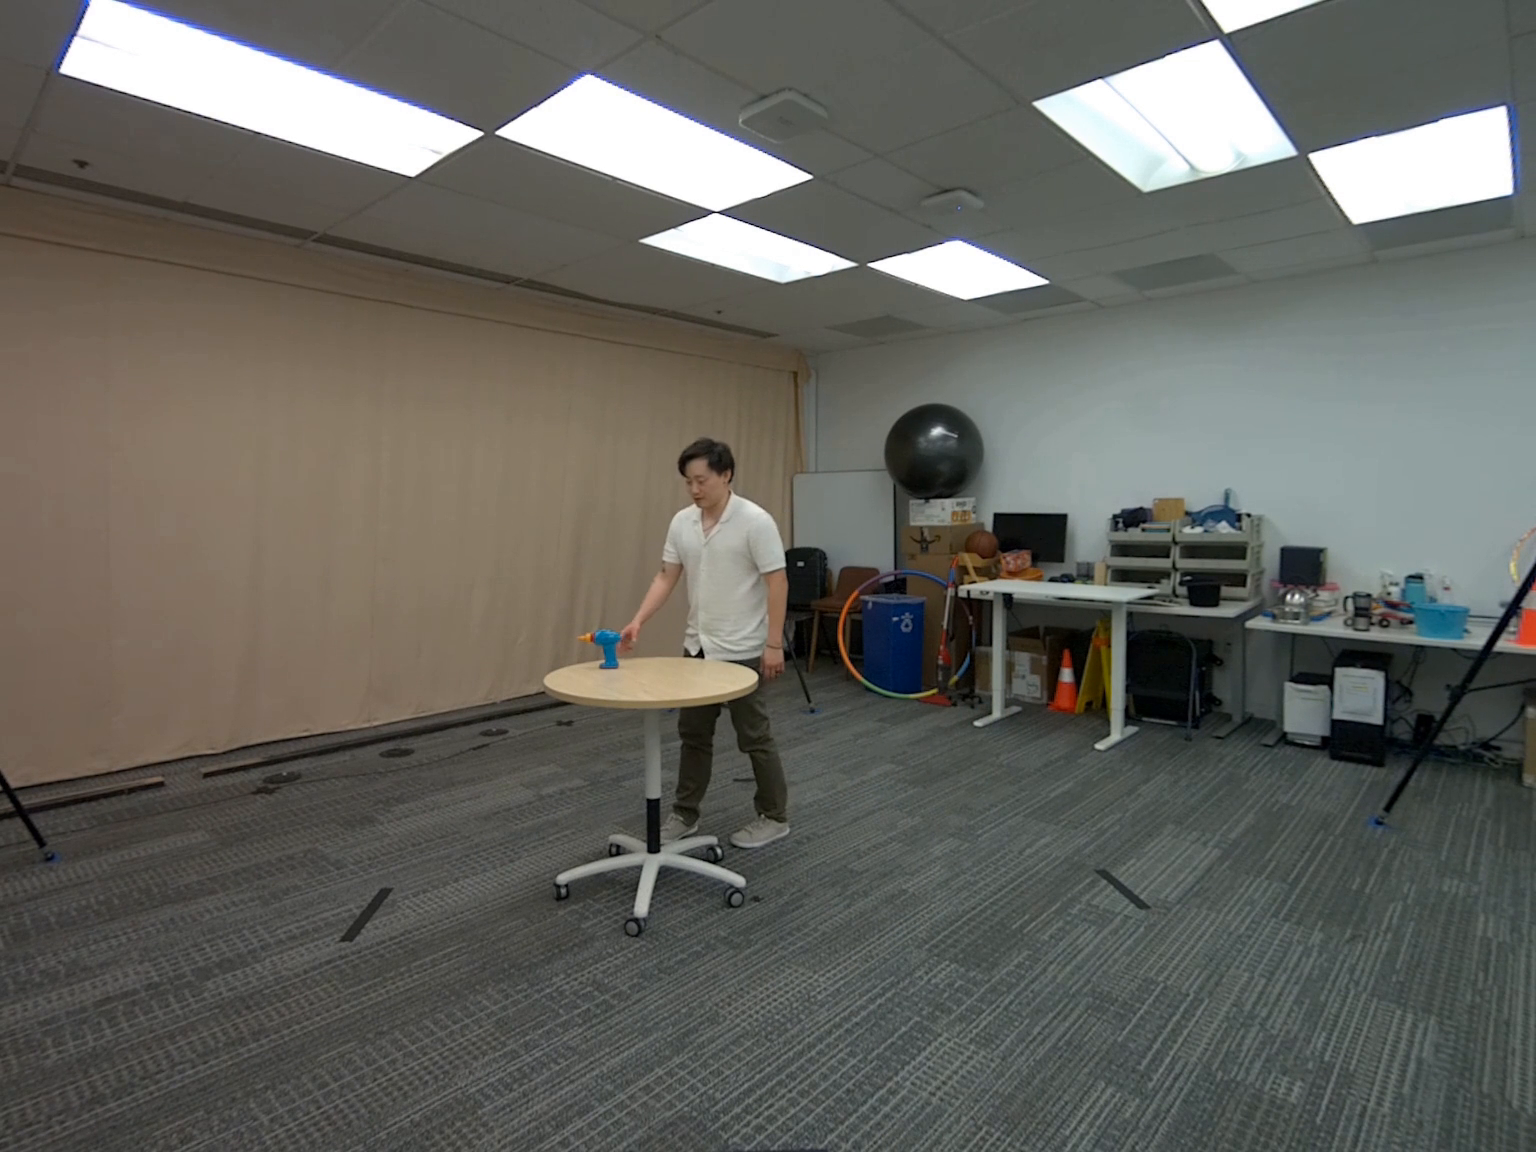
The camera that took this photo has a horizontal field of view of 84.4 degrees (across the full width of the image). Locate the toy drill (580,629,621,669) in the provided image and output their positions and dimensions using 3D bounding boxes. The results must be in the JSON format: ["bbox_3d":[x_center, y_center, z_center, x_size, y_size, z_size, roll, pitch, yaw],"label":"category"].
[{"bbox_3d":[-0.634,0.273,3.182,0.170,0.146,0.061,0,3,2],"label":"toy drill"}]
